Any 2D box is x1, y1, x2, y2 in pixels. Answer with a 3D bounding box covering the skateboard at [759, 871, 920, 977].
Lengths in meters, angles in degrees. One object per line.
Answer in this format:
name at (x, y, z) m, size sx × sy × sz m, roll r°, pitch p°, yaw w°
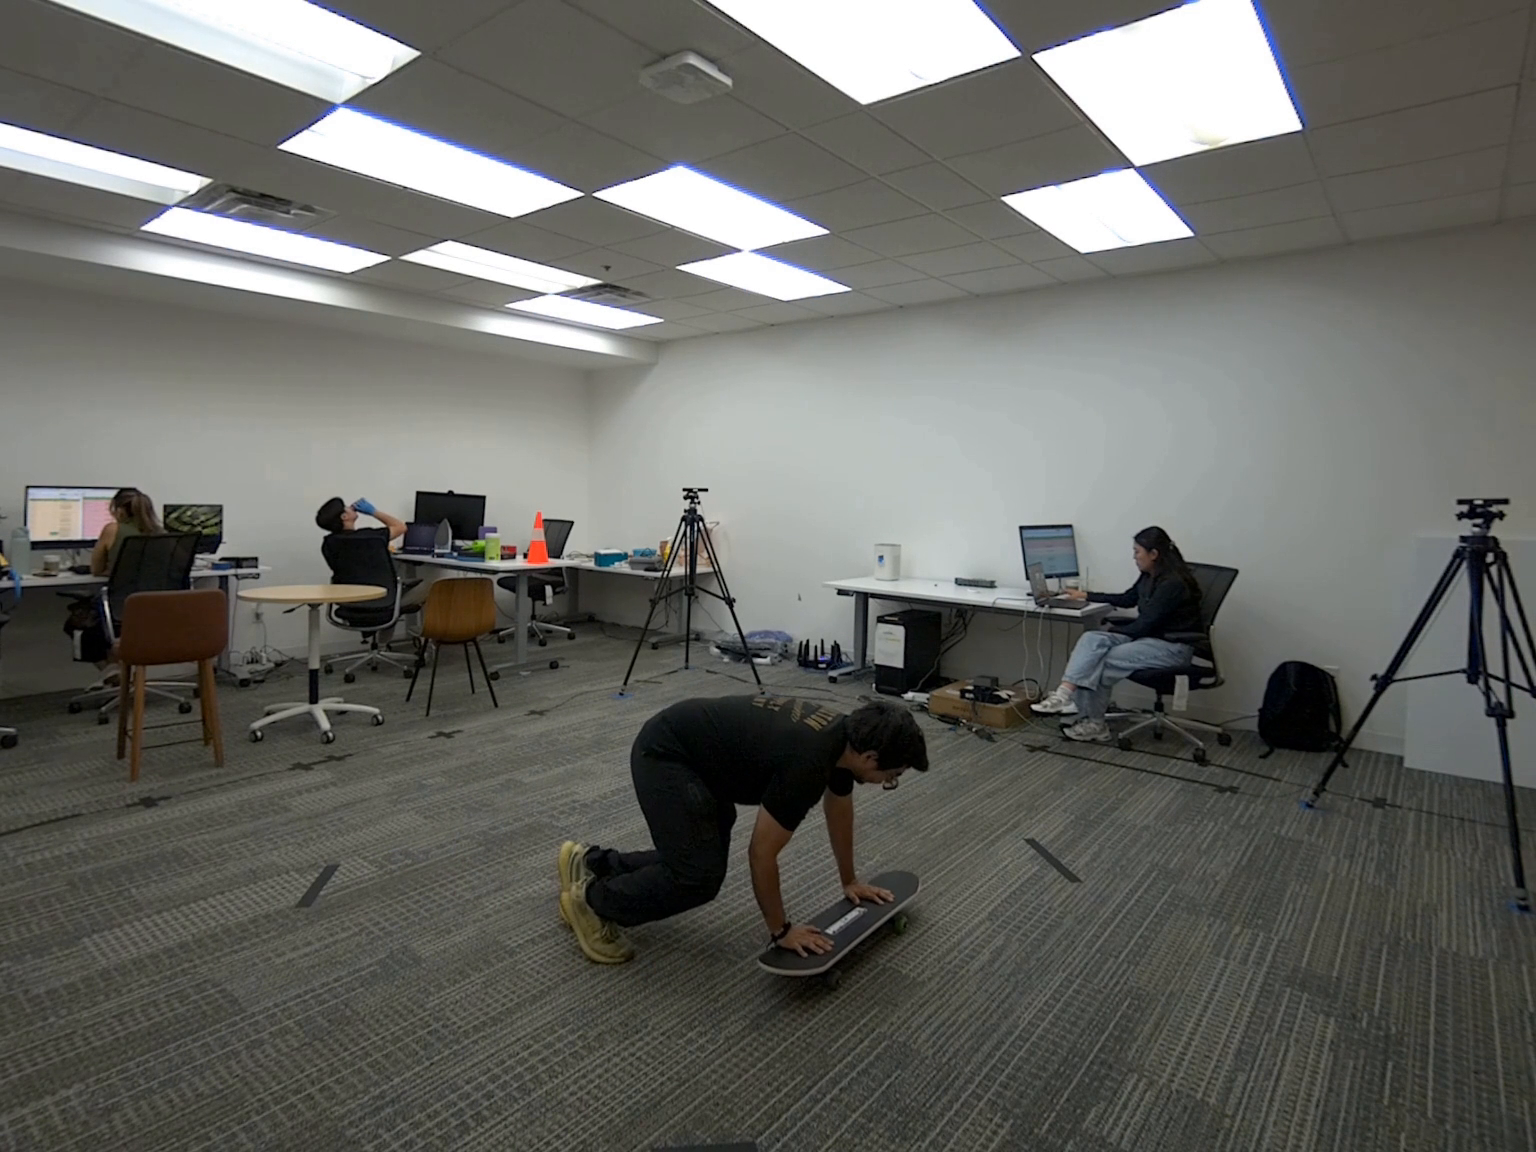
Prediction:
skateboard at (0.237, 1.079, 2.581) m, size 0.199 × 0.110 × 0.763 m, roll -4°, pitch 2°, yaw 36°
